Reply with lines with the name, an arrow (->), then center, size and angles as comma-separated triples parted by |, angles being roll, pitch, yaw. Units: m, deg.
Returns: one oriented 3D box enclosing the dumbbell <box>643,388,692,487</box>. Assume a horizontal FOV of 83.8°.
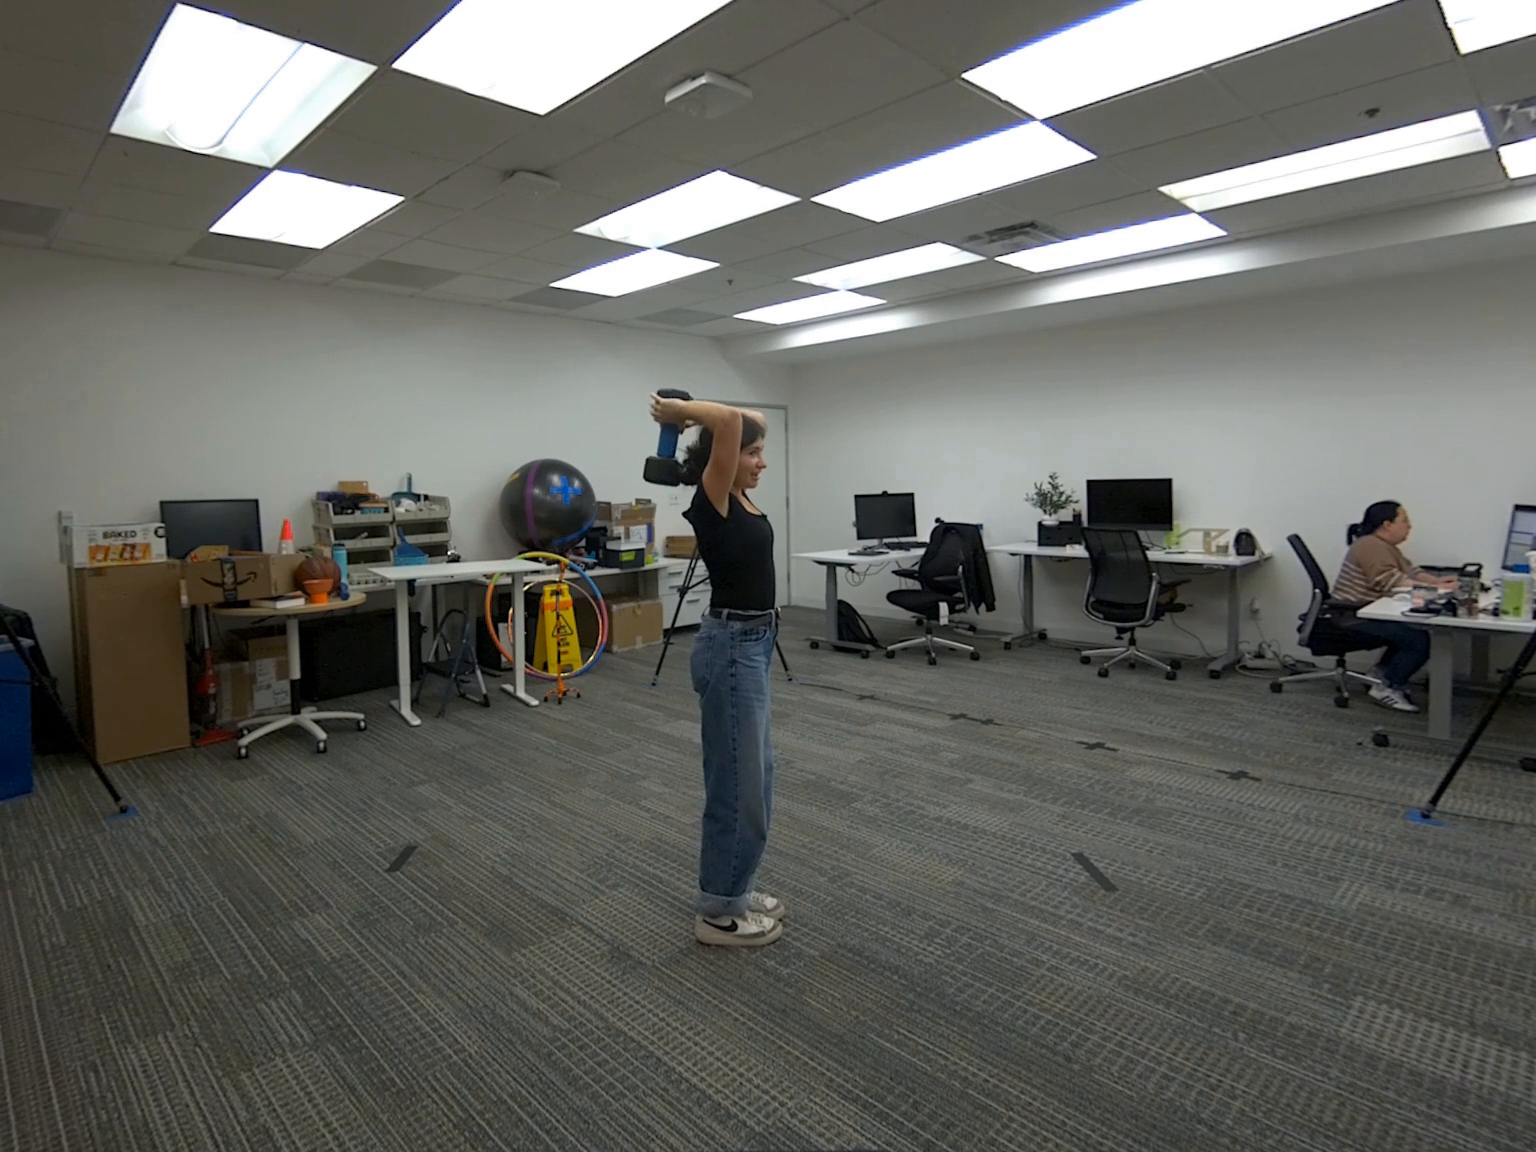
dumbbell -> -0.301, -0.431, 2.645 | 0.127, 0.294, 0.105 | 7, -1, 44
